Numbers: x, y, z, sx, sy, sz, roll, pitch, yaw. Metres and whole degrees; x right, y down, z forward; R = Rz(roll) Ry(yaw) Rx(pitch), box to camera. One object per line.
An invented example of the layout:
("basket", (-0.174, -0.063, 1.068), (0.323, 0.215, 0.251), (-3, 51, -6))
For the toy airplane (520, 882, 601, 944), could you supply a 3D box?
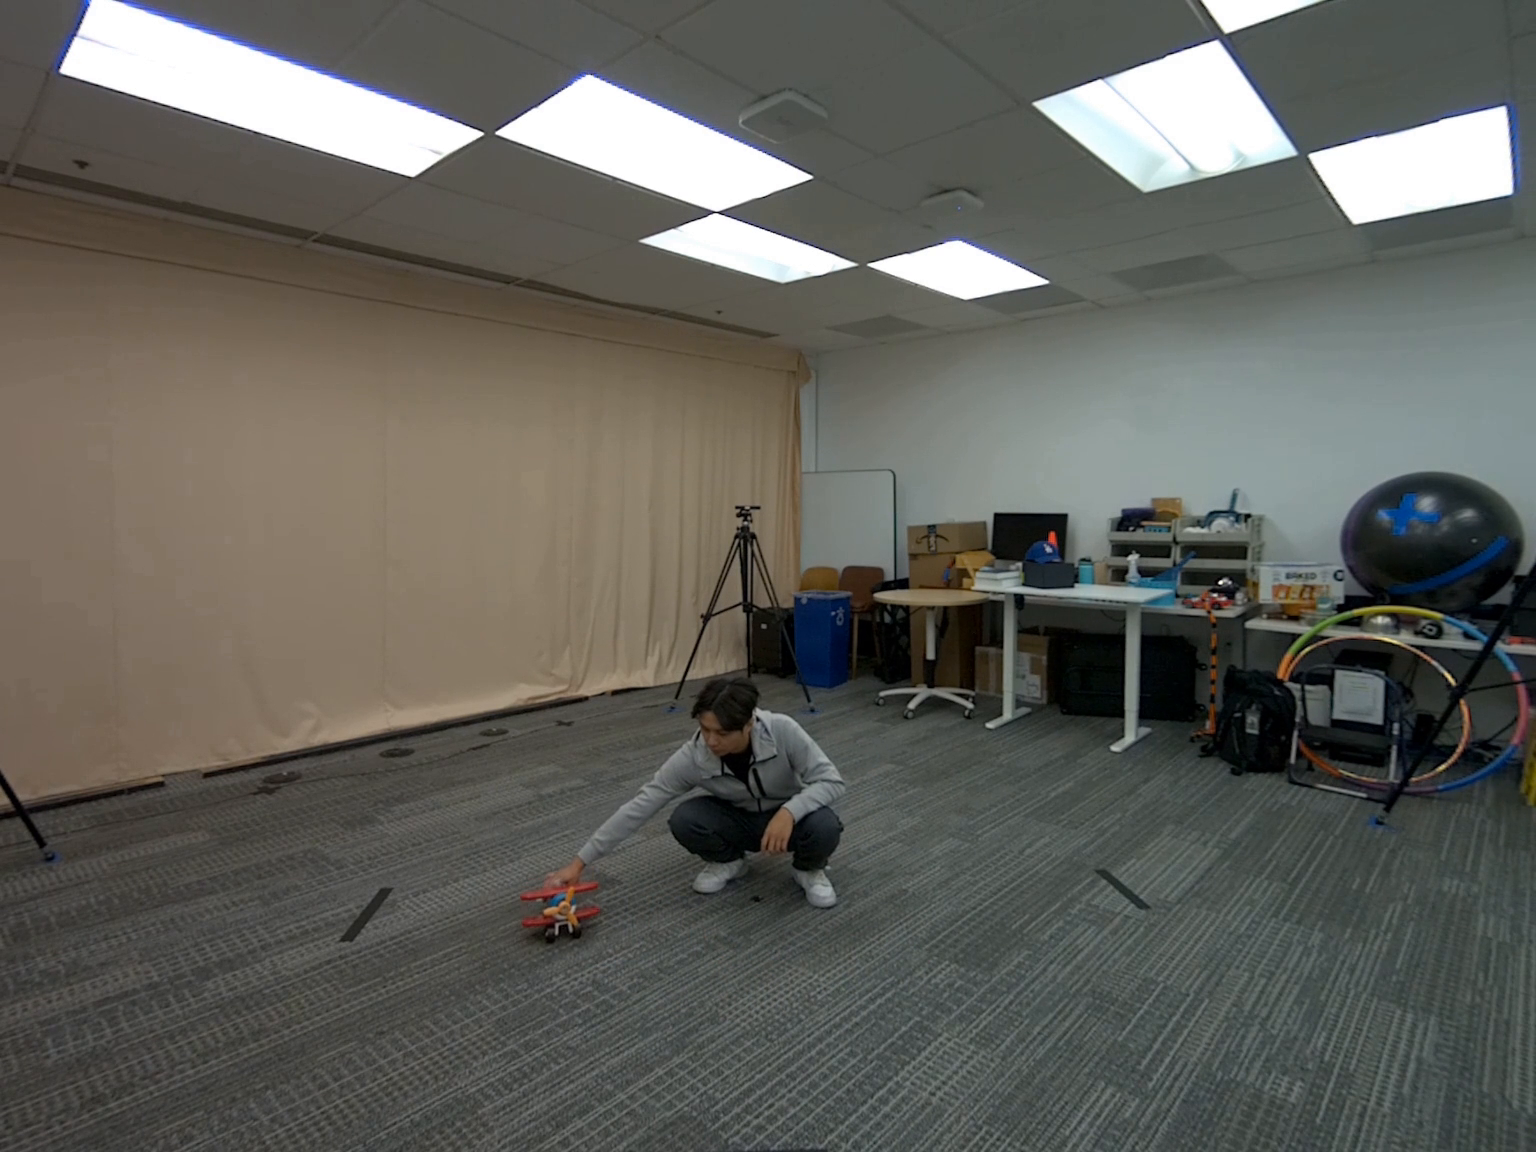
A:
("toy airplane", (-0.712, 1.098, 2.785), (0.268, 0.156, 0.243), (4, 6, 43))
